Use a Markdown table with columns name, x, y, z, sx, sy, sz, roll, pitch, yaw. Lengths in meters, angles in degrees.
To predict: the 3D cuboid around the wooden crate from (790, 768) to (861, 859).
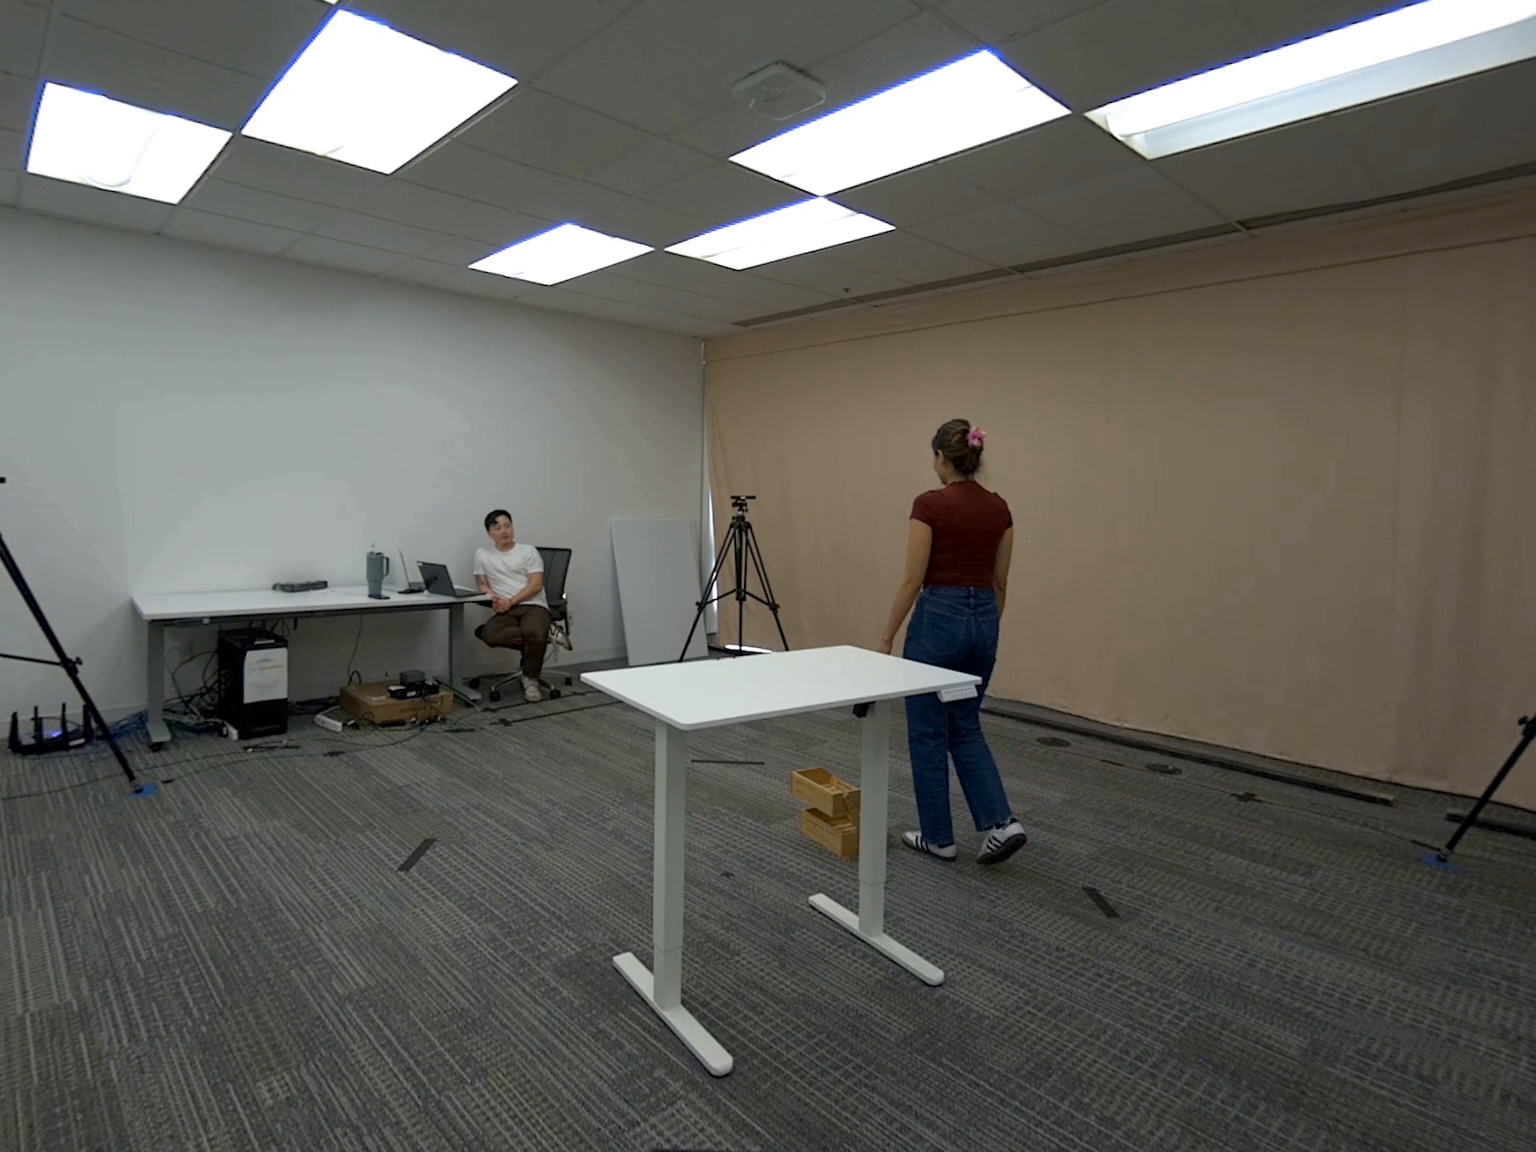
| name | x | y | z | sx | sy | sz | roll | pitch | yaw |
| --- | --- | --- | --- | --- | --- | --- | --- | --- | --- |
| wooden crate | 0.294 | 0.944 | 3.446 | 0.296 | 0.272 | 0.332 | -1 | 5 | -30 |
